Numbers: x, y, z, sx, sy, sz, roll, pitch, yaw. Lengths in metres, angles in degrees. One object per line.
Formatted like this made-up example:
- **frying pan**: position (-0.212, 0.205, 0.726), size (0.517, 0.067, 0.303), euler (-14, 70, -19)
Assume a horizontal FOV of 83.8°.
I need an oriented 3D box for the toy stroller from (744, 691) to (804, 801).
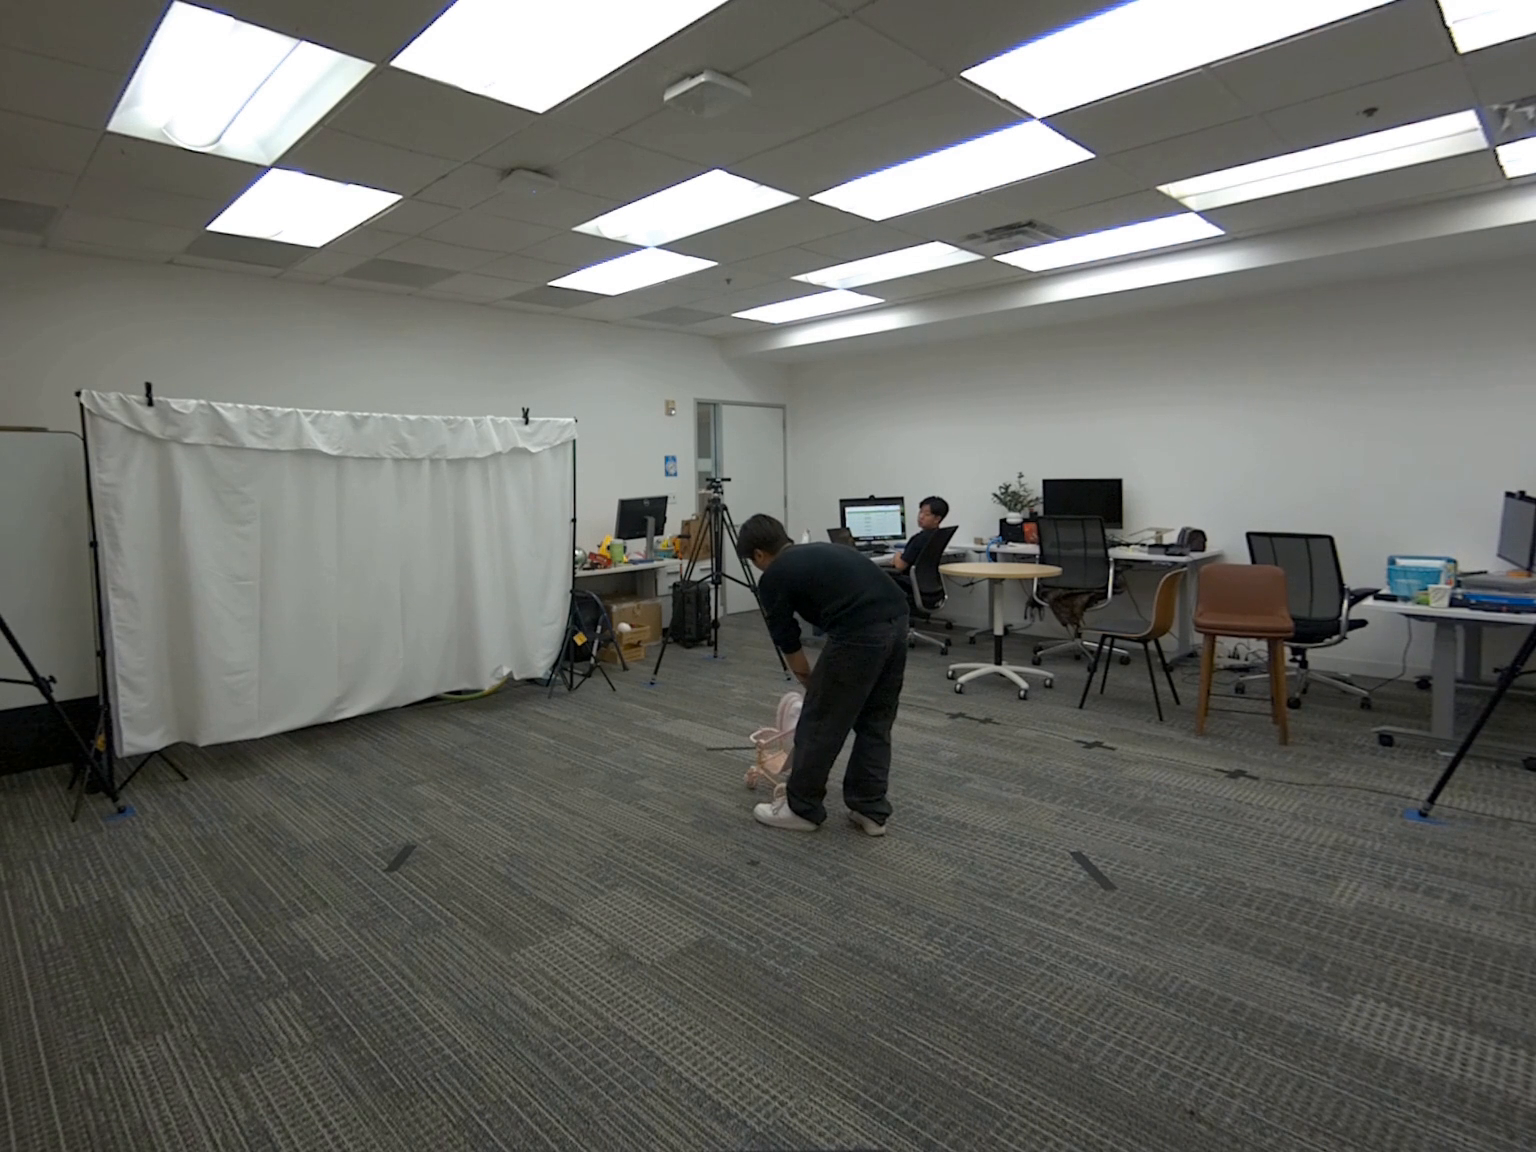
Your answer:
- **toy stroller**: position (0.085, 0.745, 3.737), size (0.353, 0.530, 0.274), euler (23, 17, 35)
